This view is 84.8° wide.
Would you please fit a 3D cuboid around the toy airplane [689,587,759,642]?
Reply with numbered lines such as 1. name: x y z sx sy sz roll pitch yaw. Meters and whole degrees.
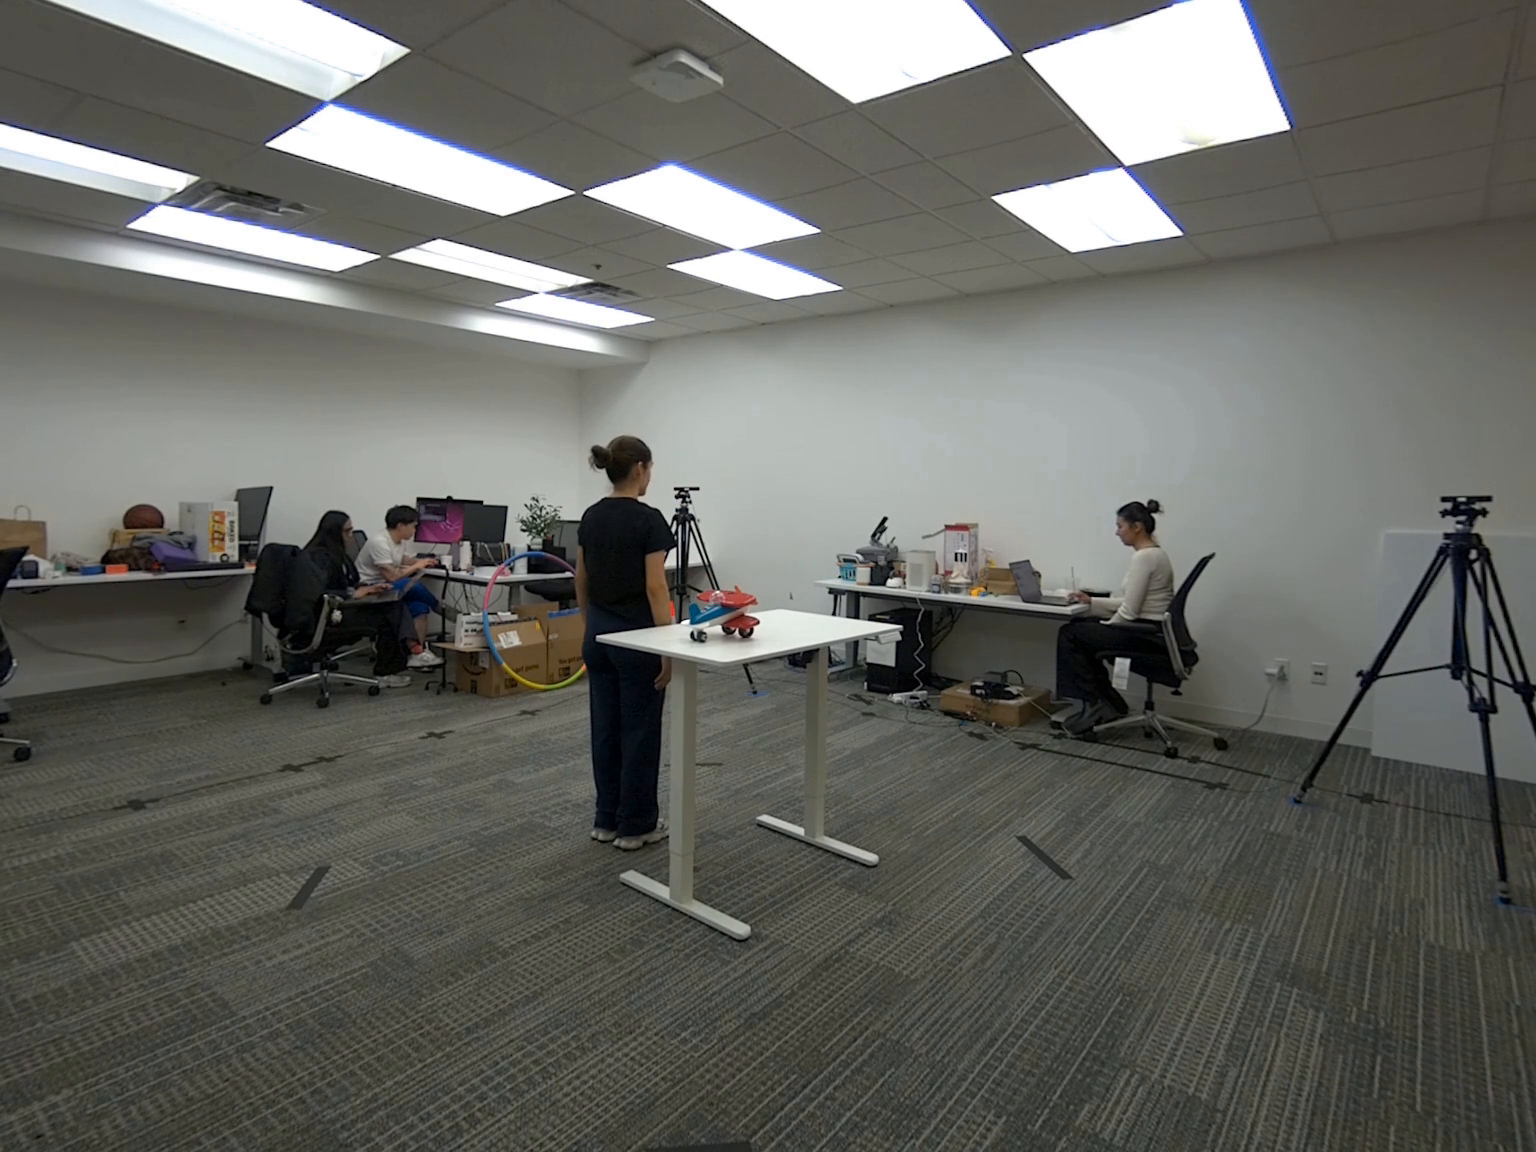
1. toy airplane: -0.140 0.132 2.874 0.256 0.156 0.254 2 4 19
